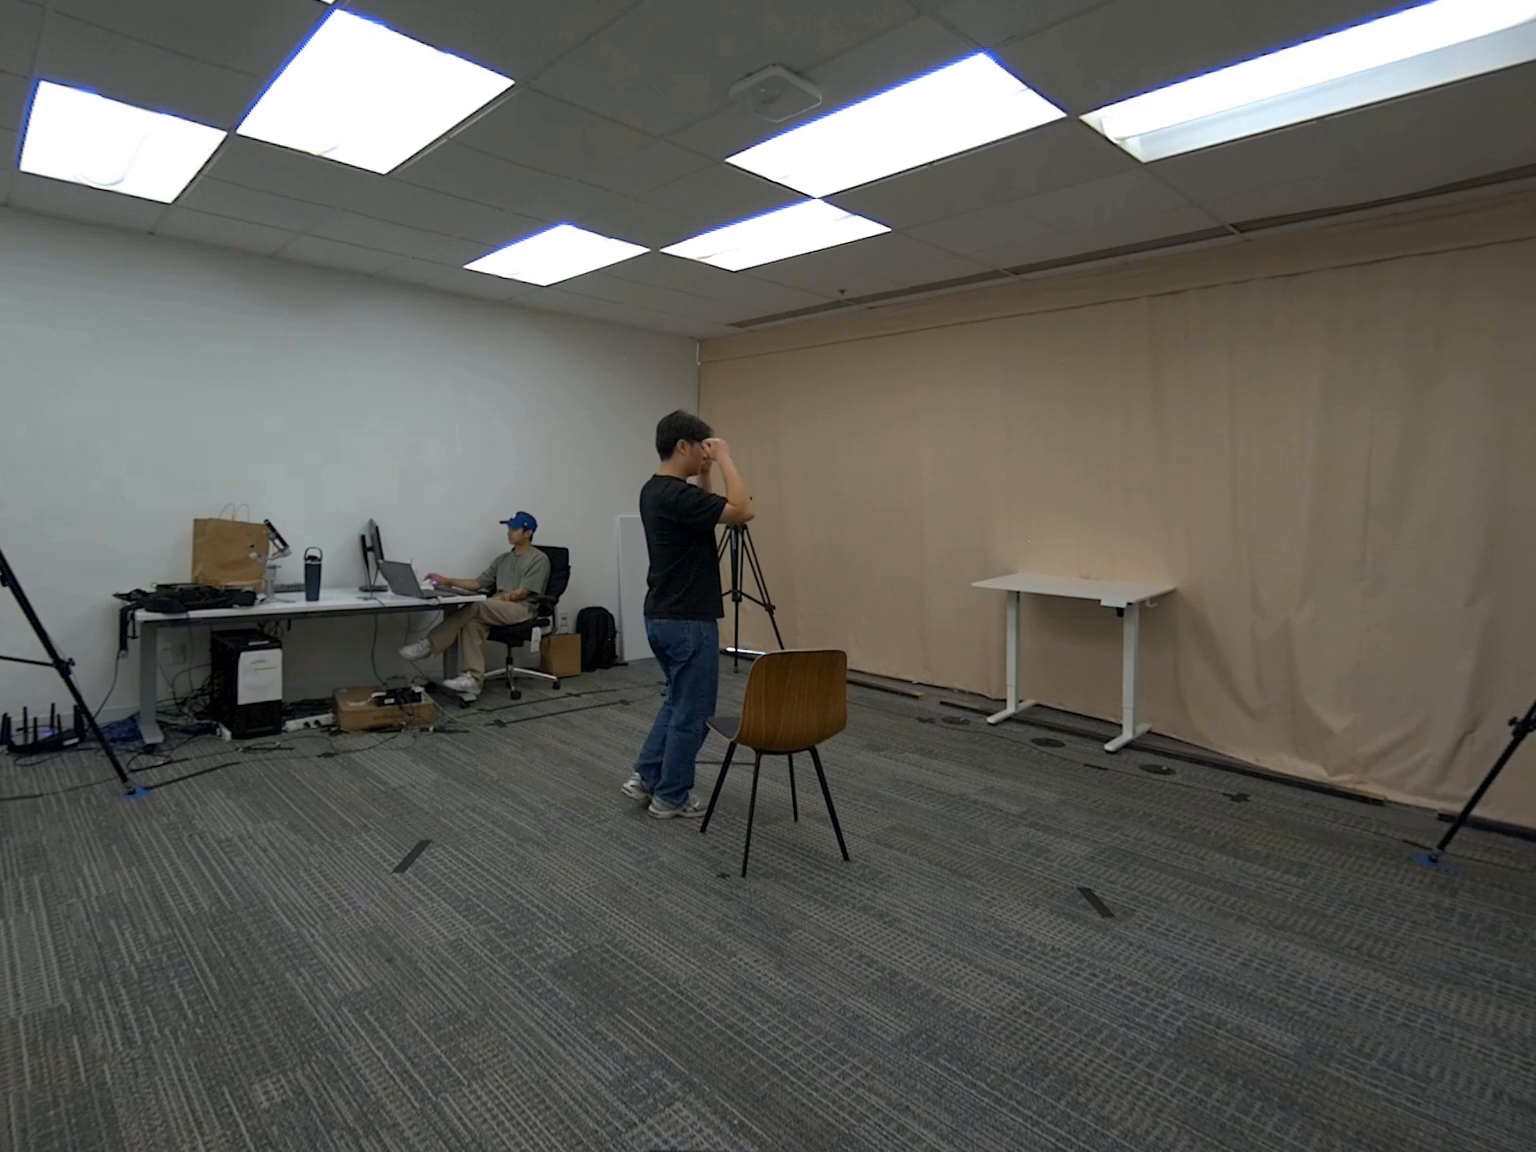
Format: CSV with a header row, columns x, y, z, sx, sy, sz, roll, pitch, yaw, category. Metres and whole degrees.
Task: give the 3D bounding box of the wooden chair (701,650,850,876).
x,y,z,sx,sy,sz,roll,pitch,yaw,category
0.024,0.663,3.354,0.470,0.873,0.534,0,7,-24,wooden chair
